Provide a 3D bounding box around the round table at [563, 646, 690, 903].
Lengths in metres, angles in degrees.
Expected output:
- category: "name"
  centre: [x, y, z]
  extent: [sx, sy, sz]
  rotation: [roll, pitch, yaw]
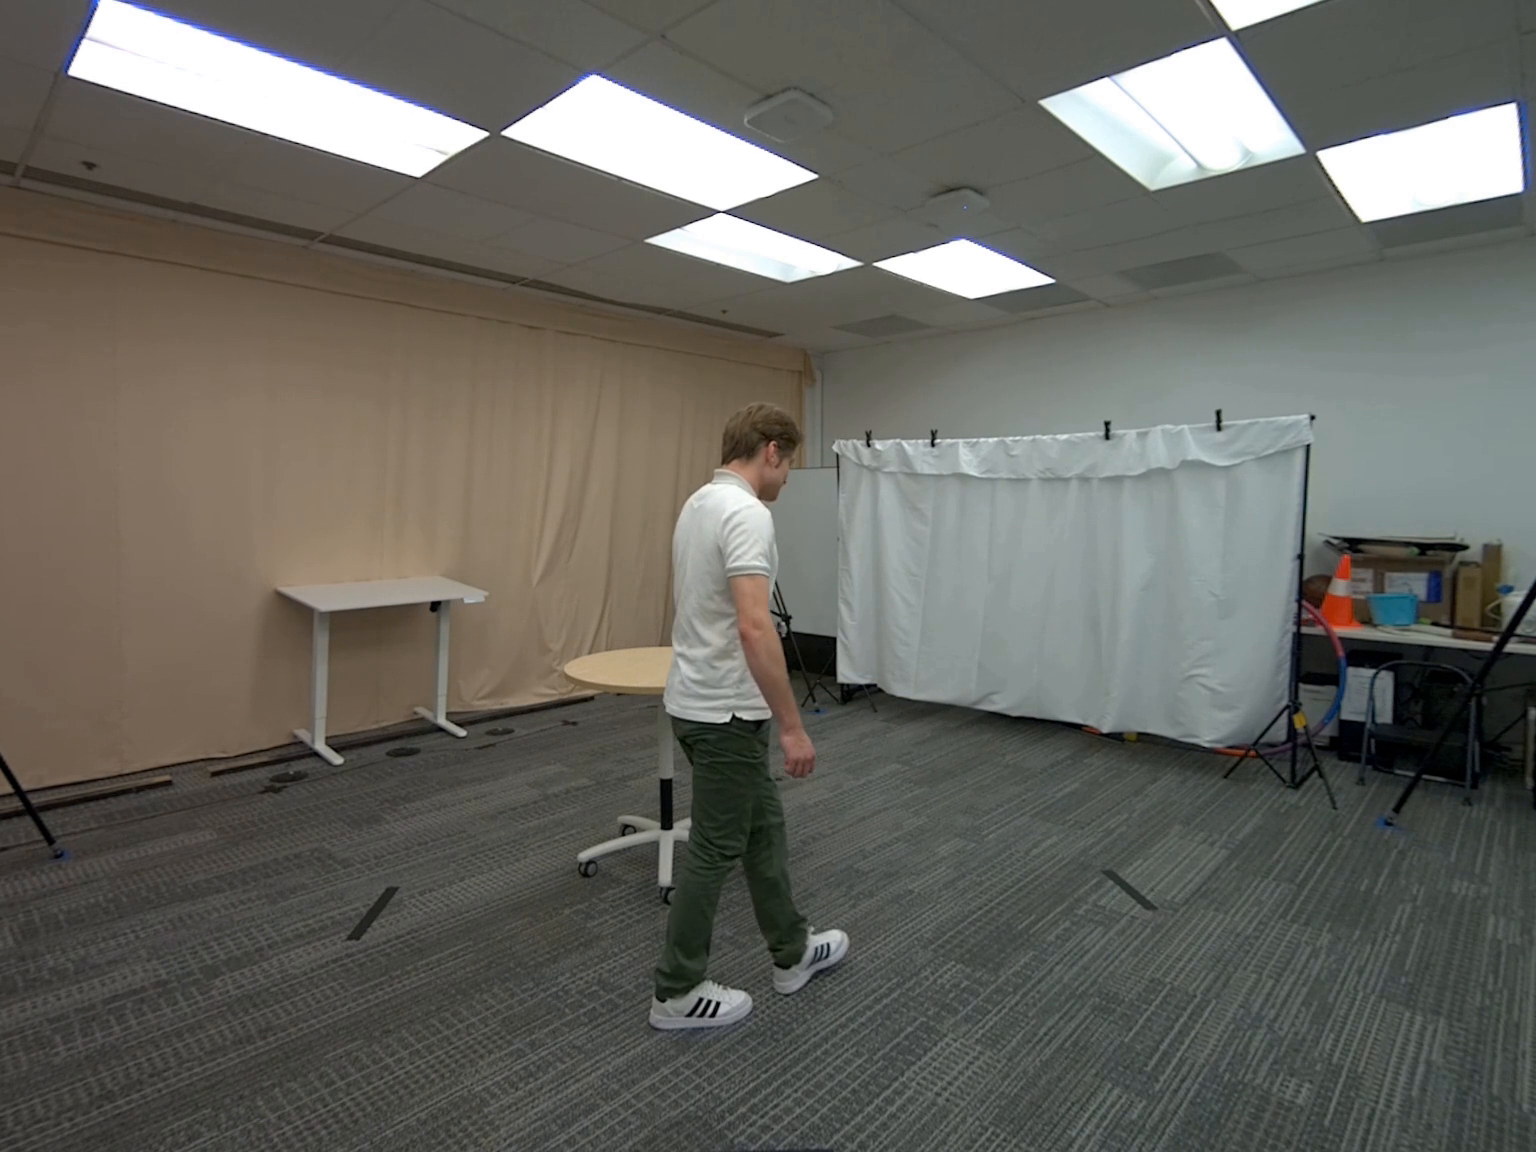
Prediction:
- category: "round table"
  centre: [-0.388, 0.733, 3.265]
  extent: [0.763, 0.792, 0.767]
  rotation: [-1, 4, -2]
